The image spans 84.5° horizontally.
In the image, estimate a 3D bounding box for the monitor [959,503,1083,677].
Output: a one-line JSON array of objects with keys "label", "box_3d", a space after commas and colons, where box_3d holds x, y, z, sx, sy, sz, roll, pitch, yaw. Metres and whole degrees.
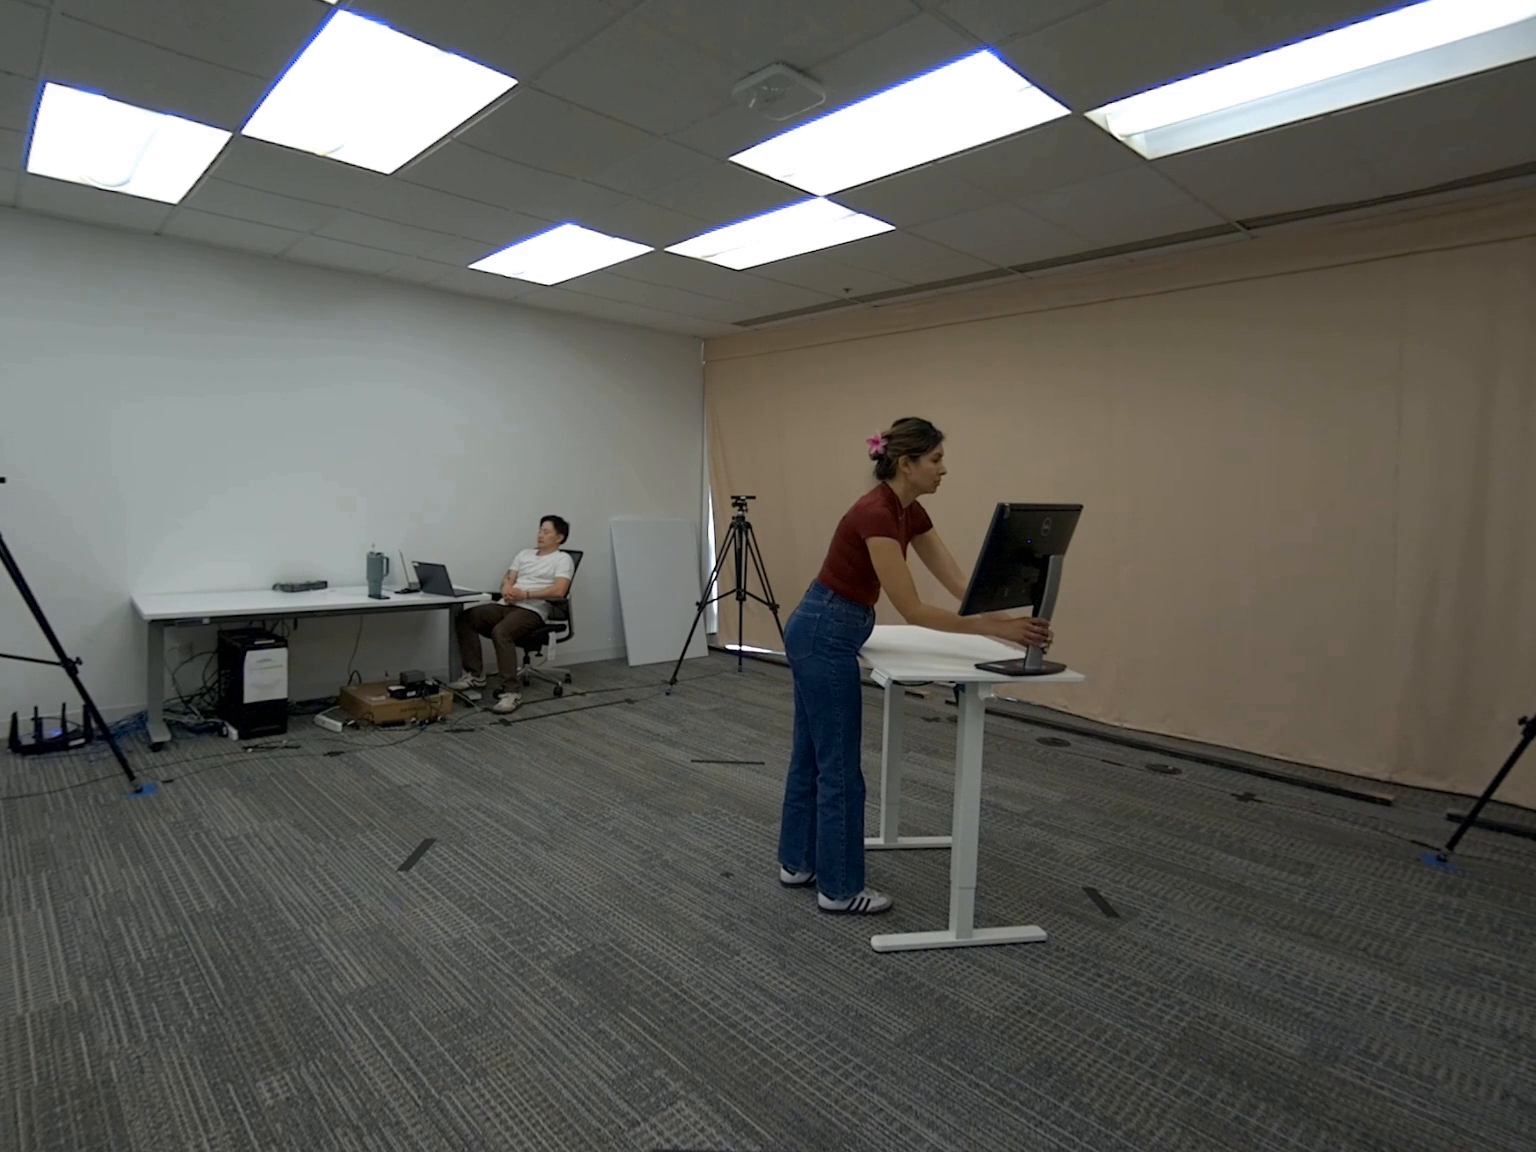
[{"label": "monitor", "box_3d": [0.799, 0.036, 2.584, 0.192, 0.520, 0.527, 11, 10, 43]}]
